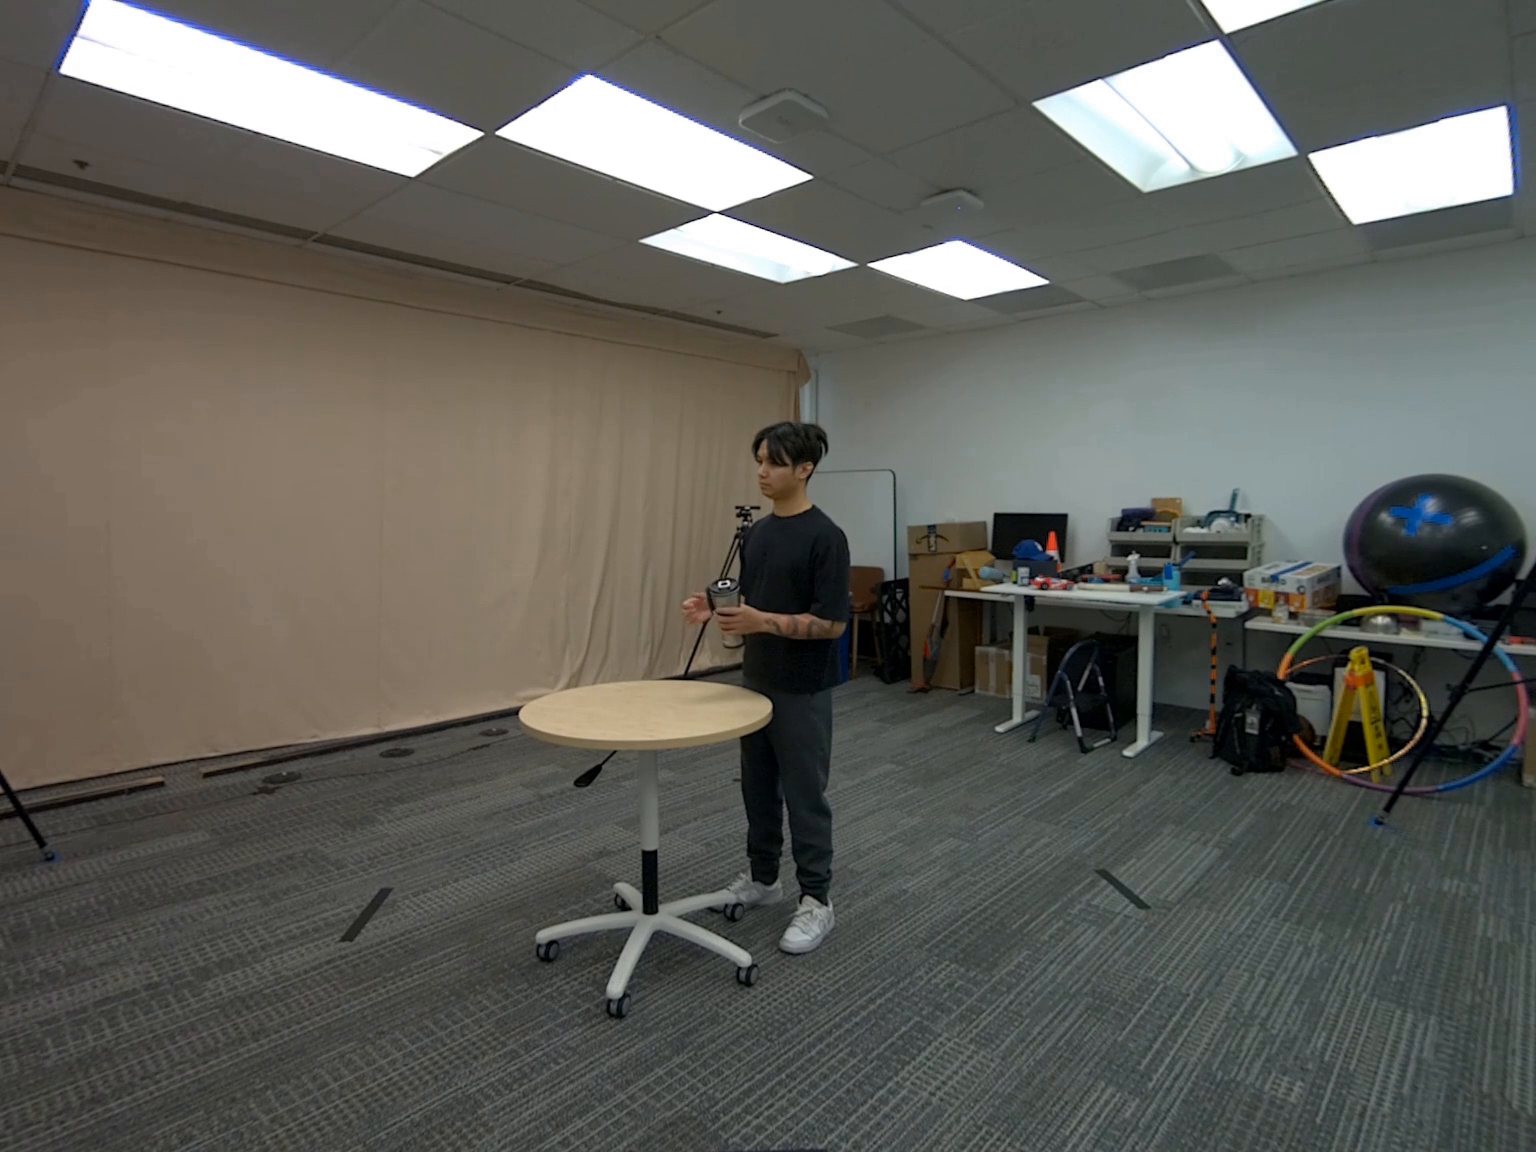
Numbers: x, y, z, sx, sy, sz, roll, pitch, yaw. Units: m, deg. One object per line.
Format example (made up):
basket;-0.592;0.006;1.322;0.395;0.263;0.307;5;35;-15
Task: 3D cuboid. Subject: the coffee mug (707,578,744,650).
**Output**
coffee mug;-0.112;0.116;2.582;0.088;0.200;0.123;-12;16;6
